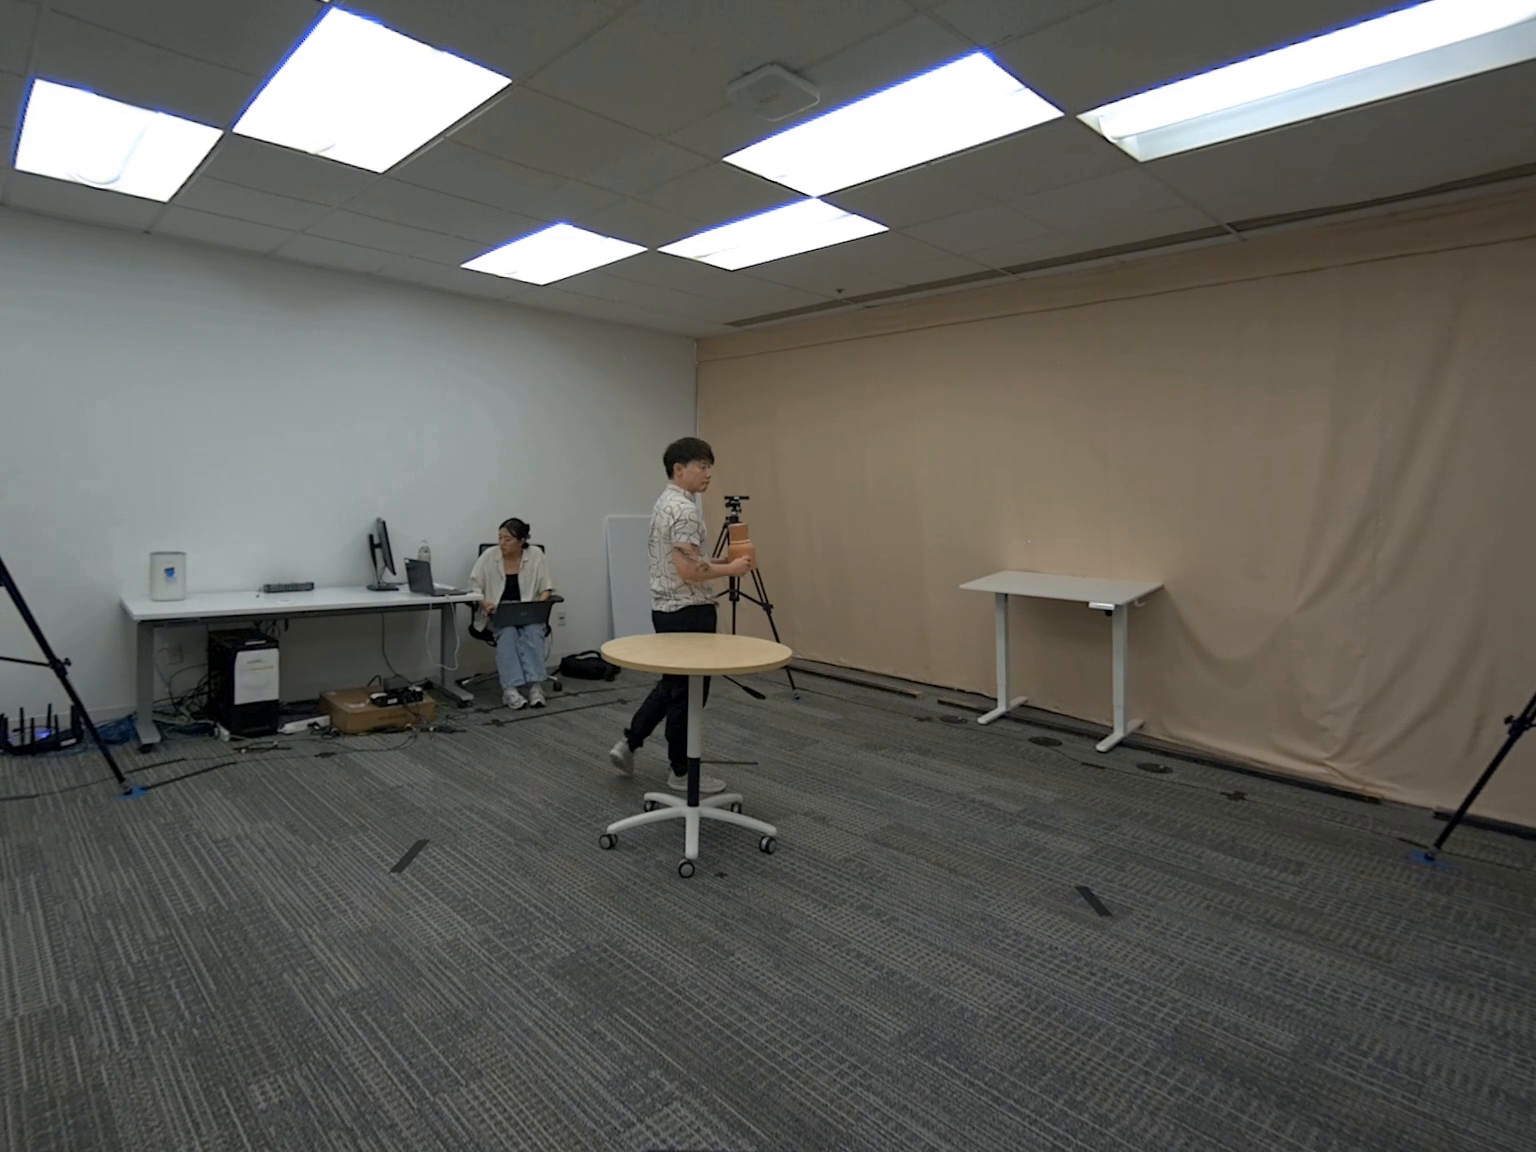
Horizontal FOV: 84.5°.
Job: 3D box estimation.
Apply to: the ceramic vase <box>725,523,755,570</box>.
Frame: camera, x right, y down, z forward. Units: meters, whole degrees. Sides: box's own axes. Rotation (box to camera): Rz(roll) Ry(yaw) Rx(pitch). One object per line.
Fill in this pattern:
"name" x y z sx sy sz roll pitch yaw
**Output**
"ceramic vase" -0.144 -0.139 3.993 0.162 0.219 0.132 0 7 42
